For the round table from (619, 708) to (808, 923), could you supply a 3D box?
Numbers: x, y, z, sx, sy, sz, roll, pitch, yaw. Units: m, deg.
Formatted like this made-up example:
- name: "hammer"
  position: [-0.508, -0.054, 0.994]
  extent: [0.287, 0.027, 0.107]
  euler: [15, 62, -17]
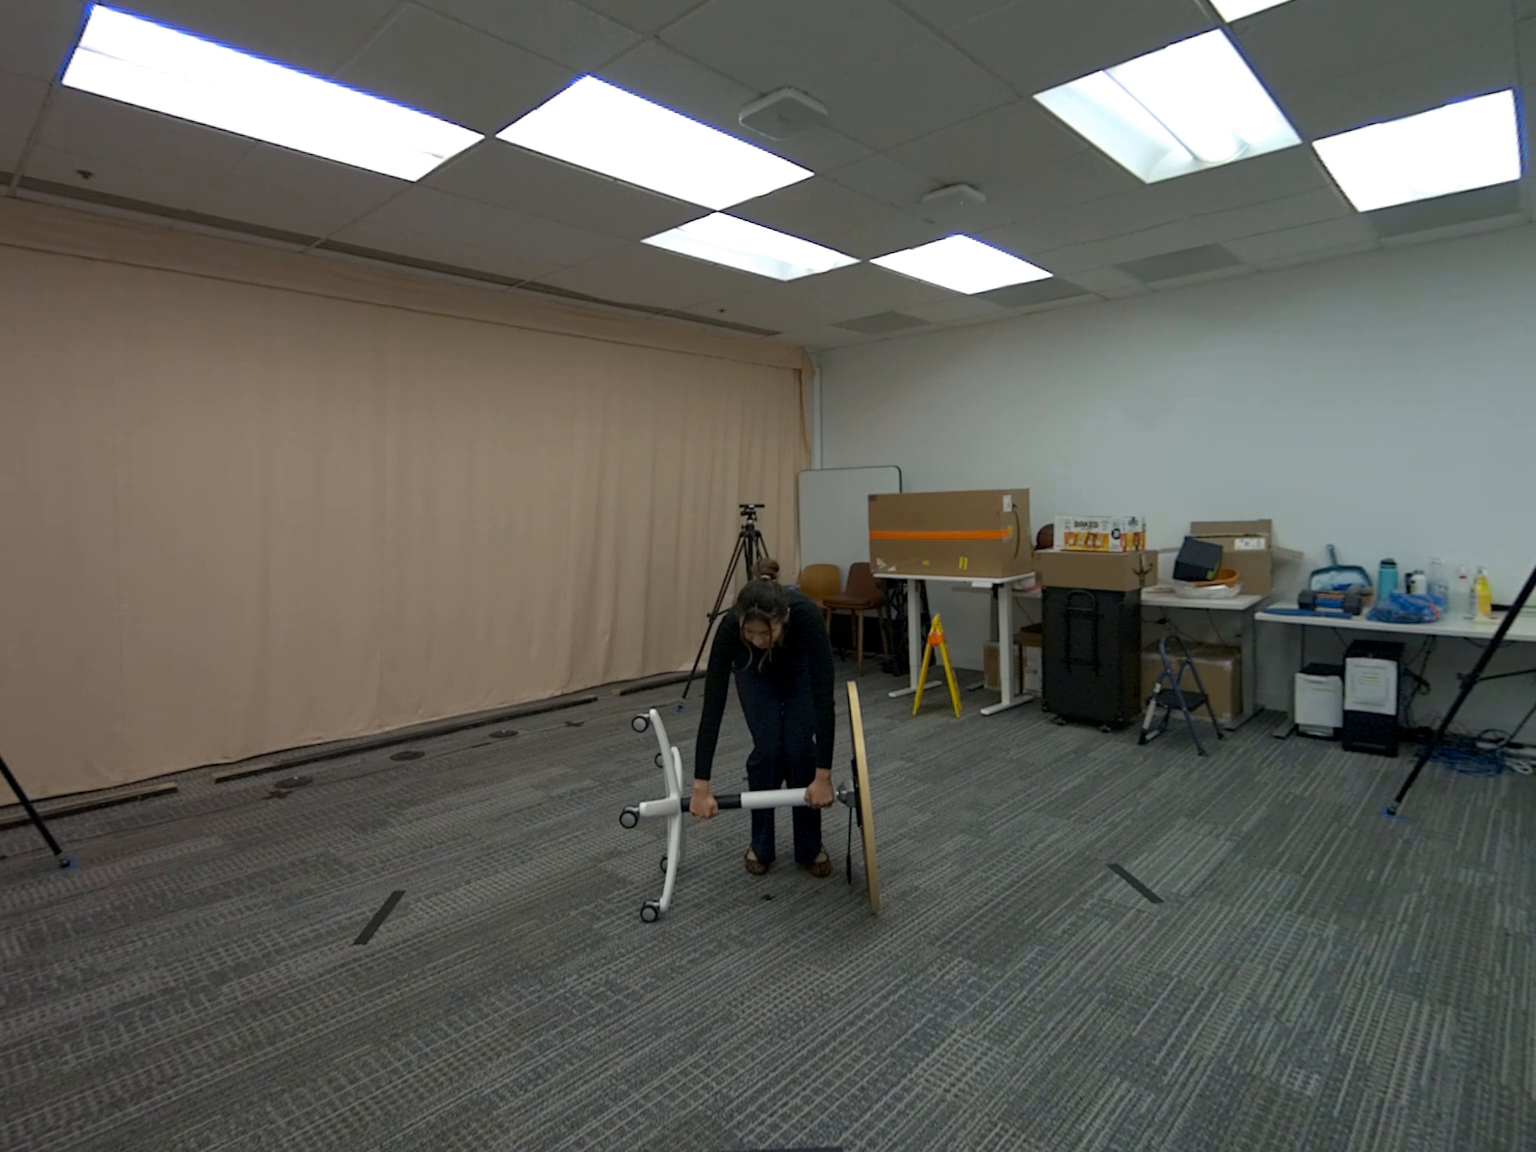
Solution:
- name: "round table"
  position: [-0.051, 0.804, 2.979]
  extent: [0.798, 0.762, 0.762]
  euler: [-6, 3, 4]
